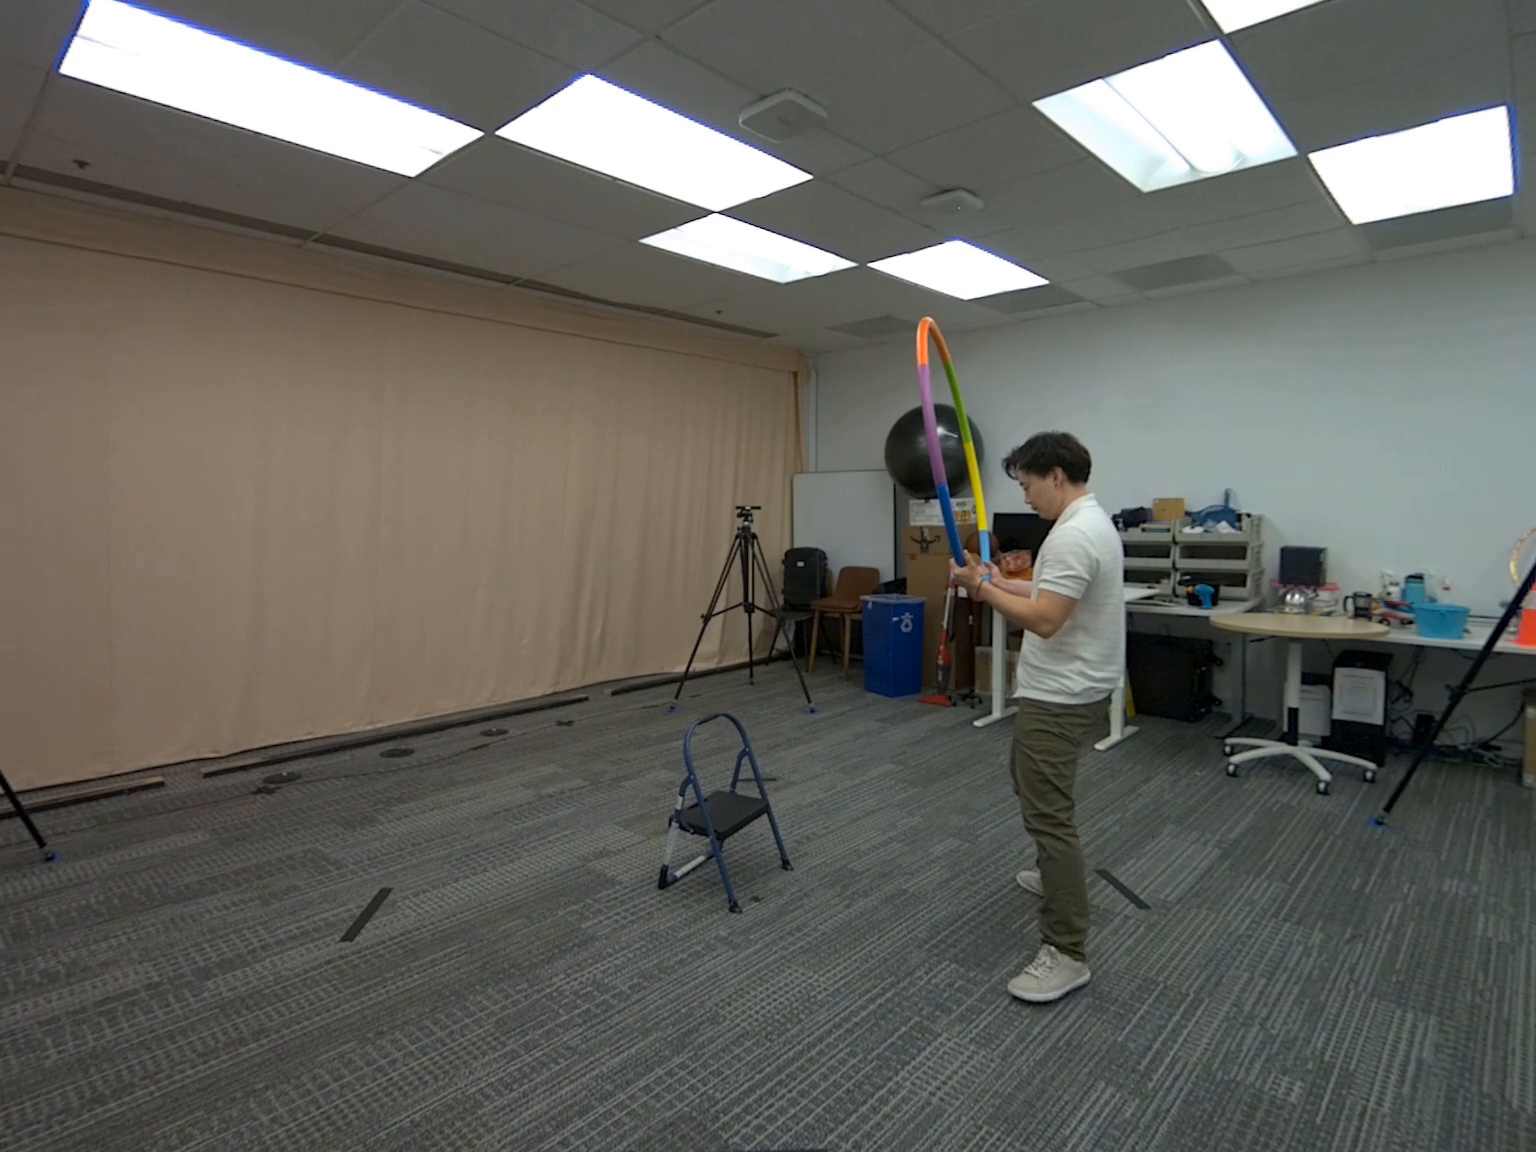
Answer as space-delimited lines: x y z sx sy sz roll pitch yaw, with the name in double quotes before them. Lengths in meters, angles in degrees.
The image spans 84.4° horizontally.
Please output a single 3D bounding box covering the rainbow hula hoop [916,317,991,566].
"rainbow hula hoop" 0.661 -0.400 2.896 0.036 0.980 0.958 -12 -1 21
